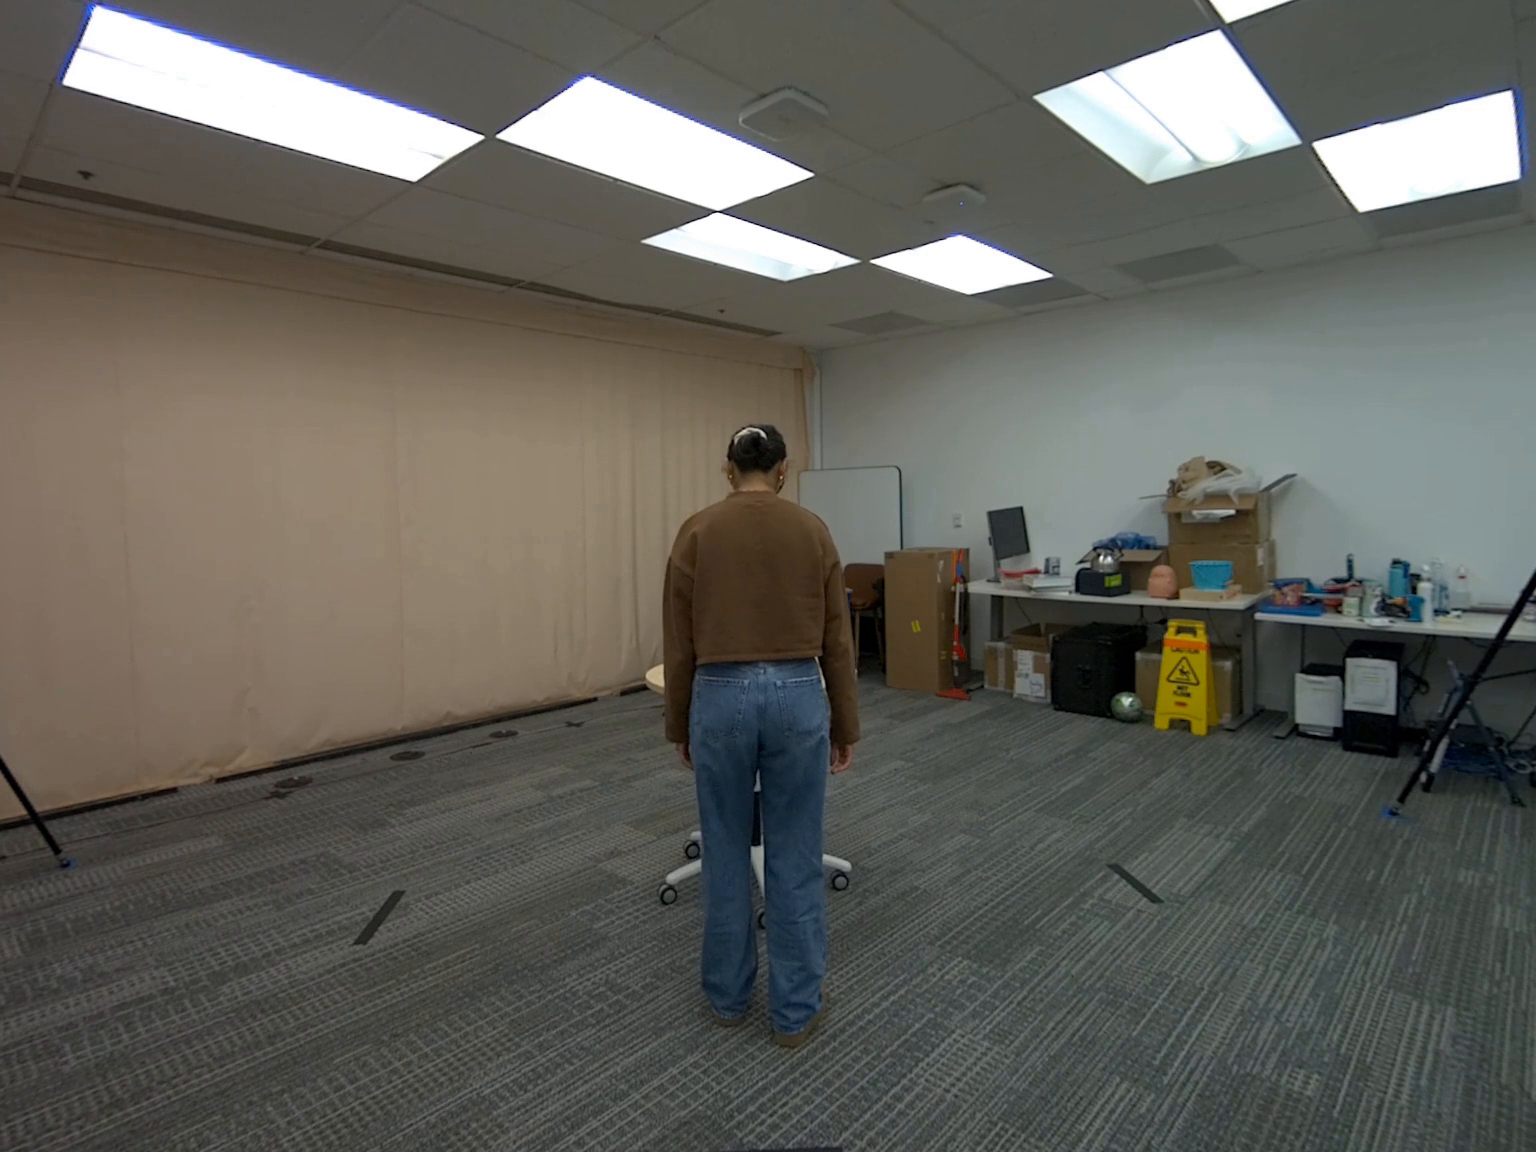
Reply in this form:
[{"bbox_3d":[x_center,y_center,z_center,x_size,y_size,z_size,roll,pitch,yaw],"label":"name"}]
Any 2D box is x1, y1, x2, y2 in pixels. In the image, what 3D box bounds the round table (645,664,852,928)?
[{"bbox_3d":[-0.060,0.742,3.086,0.763,0.792,0.767,-1,4,-2],"label":"round table"}]
